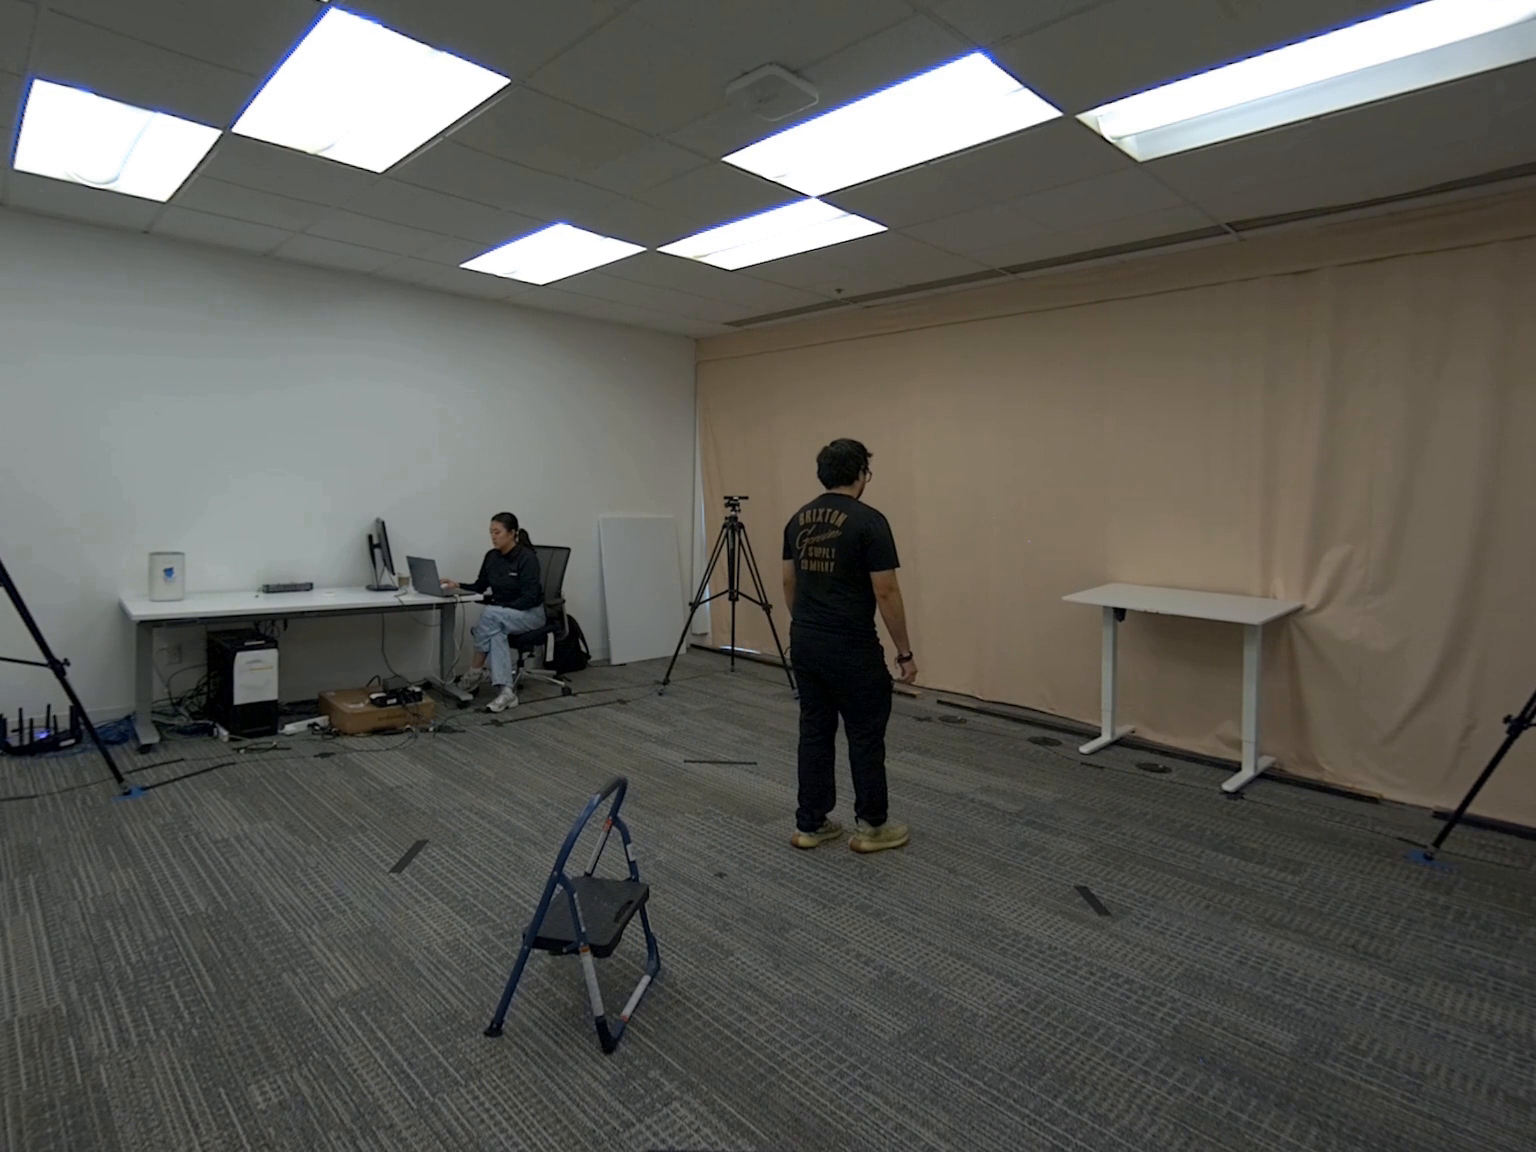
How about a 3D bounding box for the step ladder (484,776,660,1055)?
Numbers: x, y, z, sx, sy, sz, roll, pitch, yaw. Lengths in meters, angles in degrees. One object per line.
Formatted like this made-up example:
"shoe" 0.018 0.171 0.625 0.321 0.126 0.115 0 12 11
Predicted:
"step ladder" -0.516 0.869 2.302 0.352 0.604 0.428 2 4 10
